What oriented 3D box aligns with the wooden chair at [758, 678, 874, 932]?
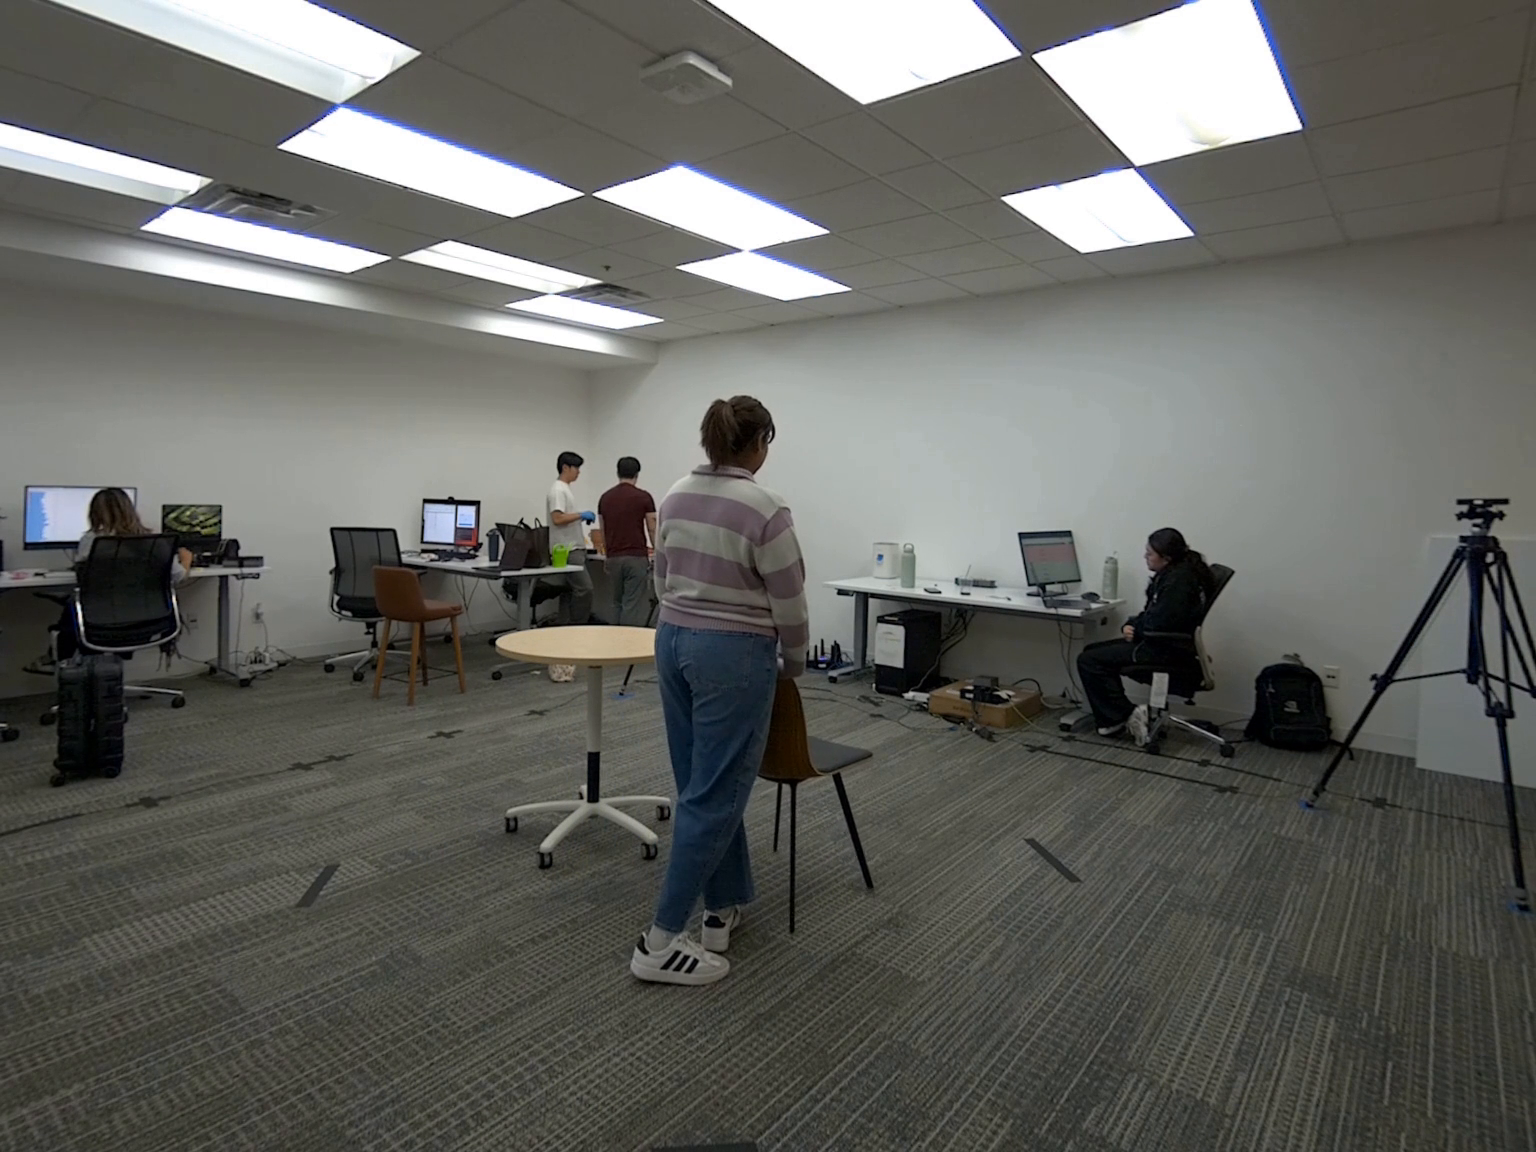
[{"bbox_3d":[0.062,0.662,2.965,0.494,0.872,0.509,4,8,42],"label":"wooden chair"}]
